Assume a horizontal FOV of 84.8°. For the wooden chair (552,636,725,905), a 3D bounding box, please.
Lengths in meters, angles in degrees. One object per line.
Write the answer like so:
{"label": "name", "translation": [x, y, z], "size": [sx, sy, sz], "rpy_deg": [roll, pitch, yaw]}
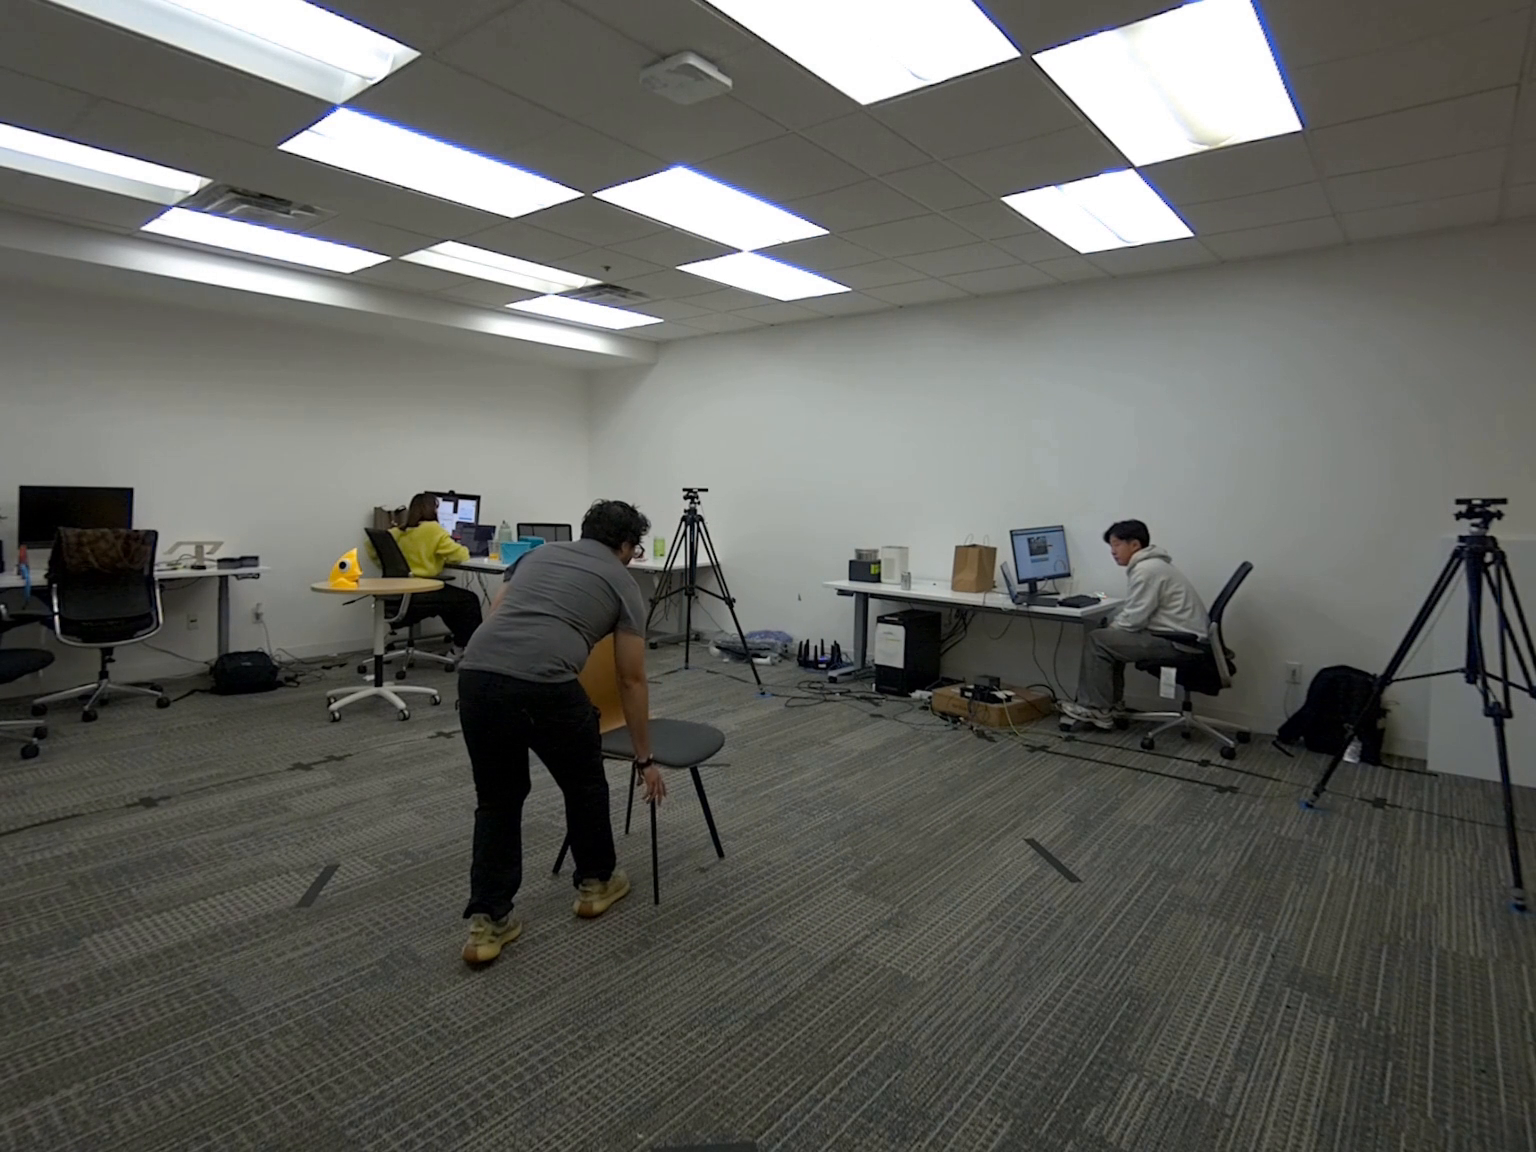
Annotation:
{"label": "wooden chair", "translation": [-0.456, 0.635, 3.106], "size": [0.537, 0.877, 0.466], "rpy_deg": [-2, 1, 28]}
